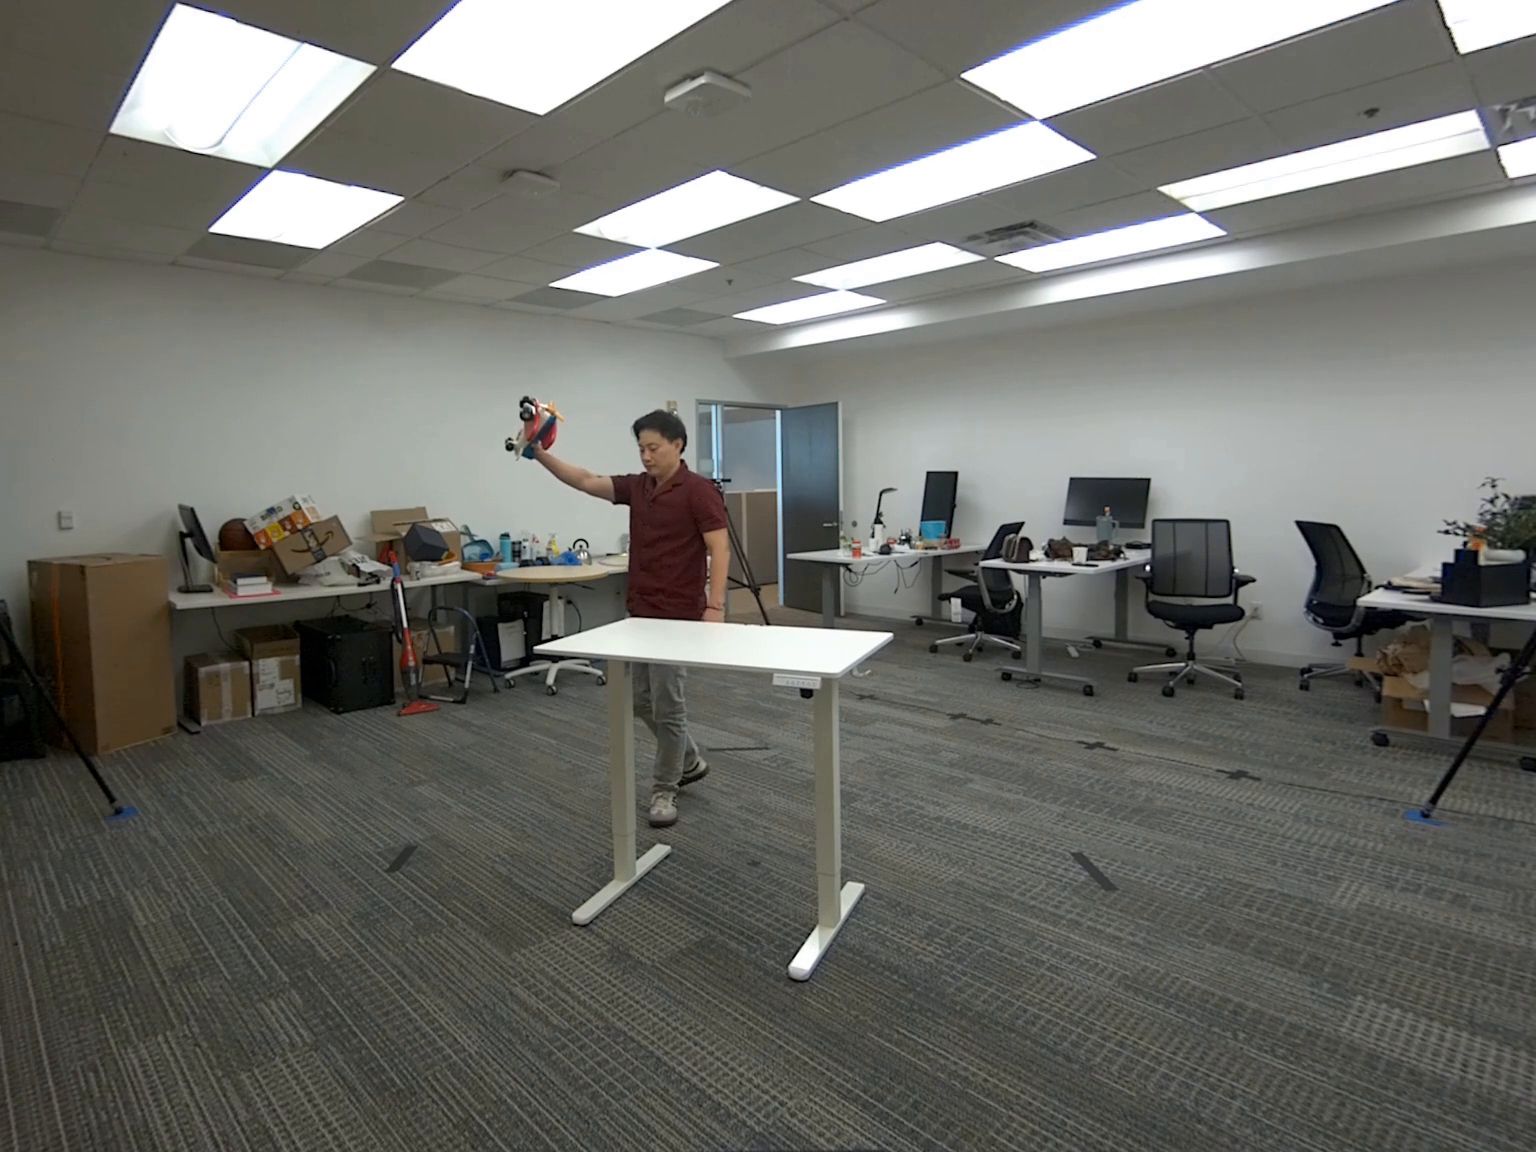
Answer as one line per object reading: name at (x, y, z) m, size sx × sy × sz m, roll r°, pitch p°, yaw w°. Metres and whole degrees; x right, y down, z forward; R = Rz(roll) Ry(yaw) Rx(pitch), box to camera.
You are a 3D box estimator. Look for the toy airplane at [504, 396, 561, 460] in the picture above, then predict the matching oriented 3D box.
toy airplane at (-0.936, -0.591, 3.397) m, size 0.152 × 0.256 × 0.261 m, roll 14°, pitch -28°, yaw -27°
